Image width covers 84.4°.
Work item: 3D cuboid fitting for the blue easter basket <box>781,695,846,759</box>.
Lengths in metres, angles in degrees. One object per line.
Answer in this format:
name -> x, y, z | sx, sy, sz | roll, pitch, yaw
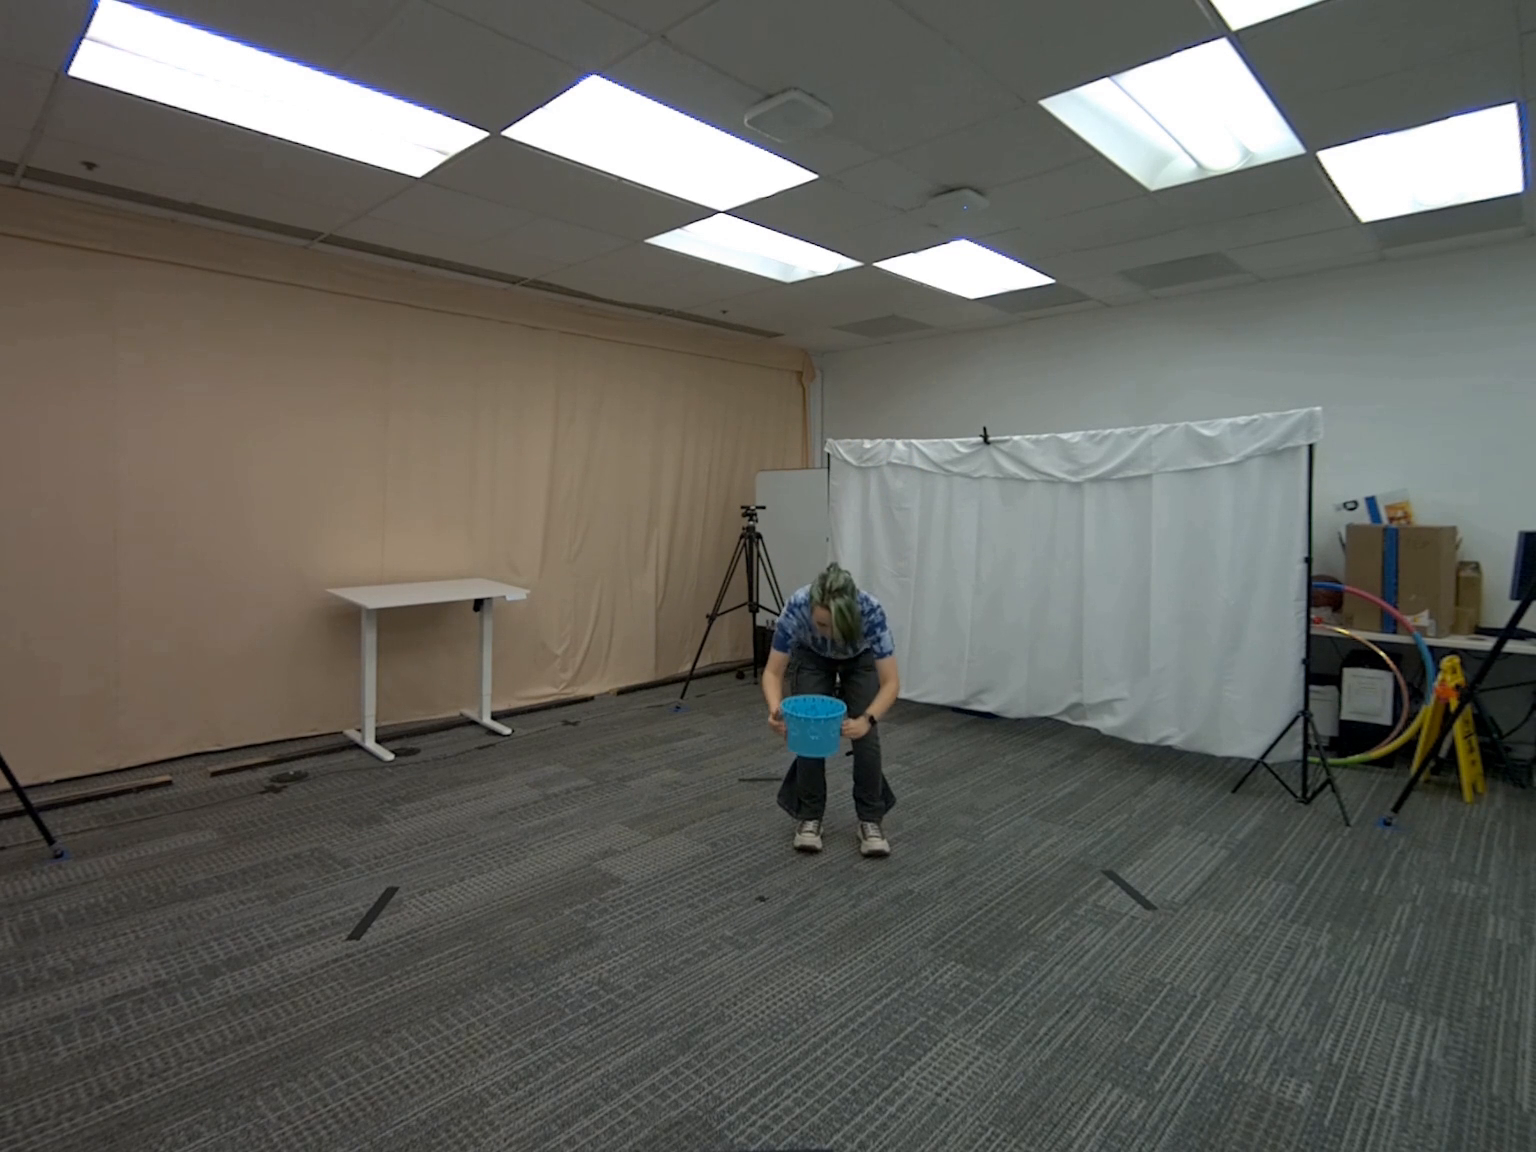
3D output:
blue easter basket -> 0.158, 0.517, 2.960 | 0.243, 0.155, 0.245 | 0, 7, -2
